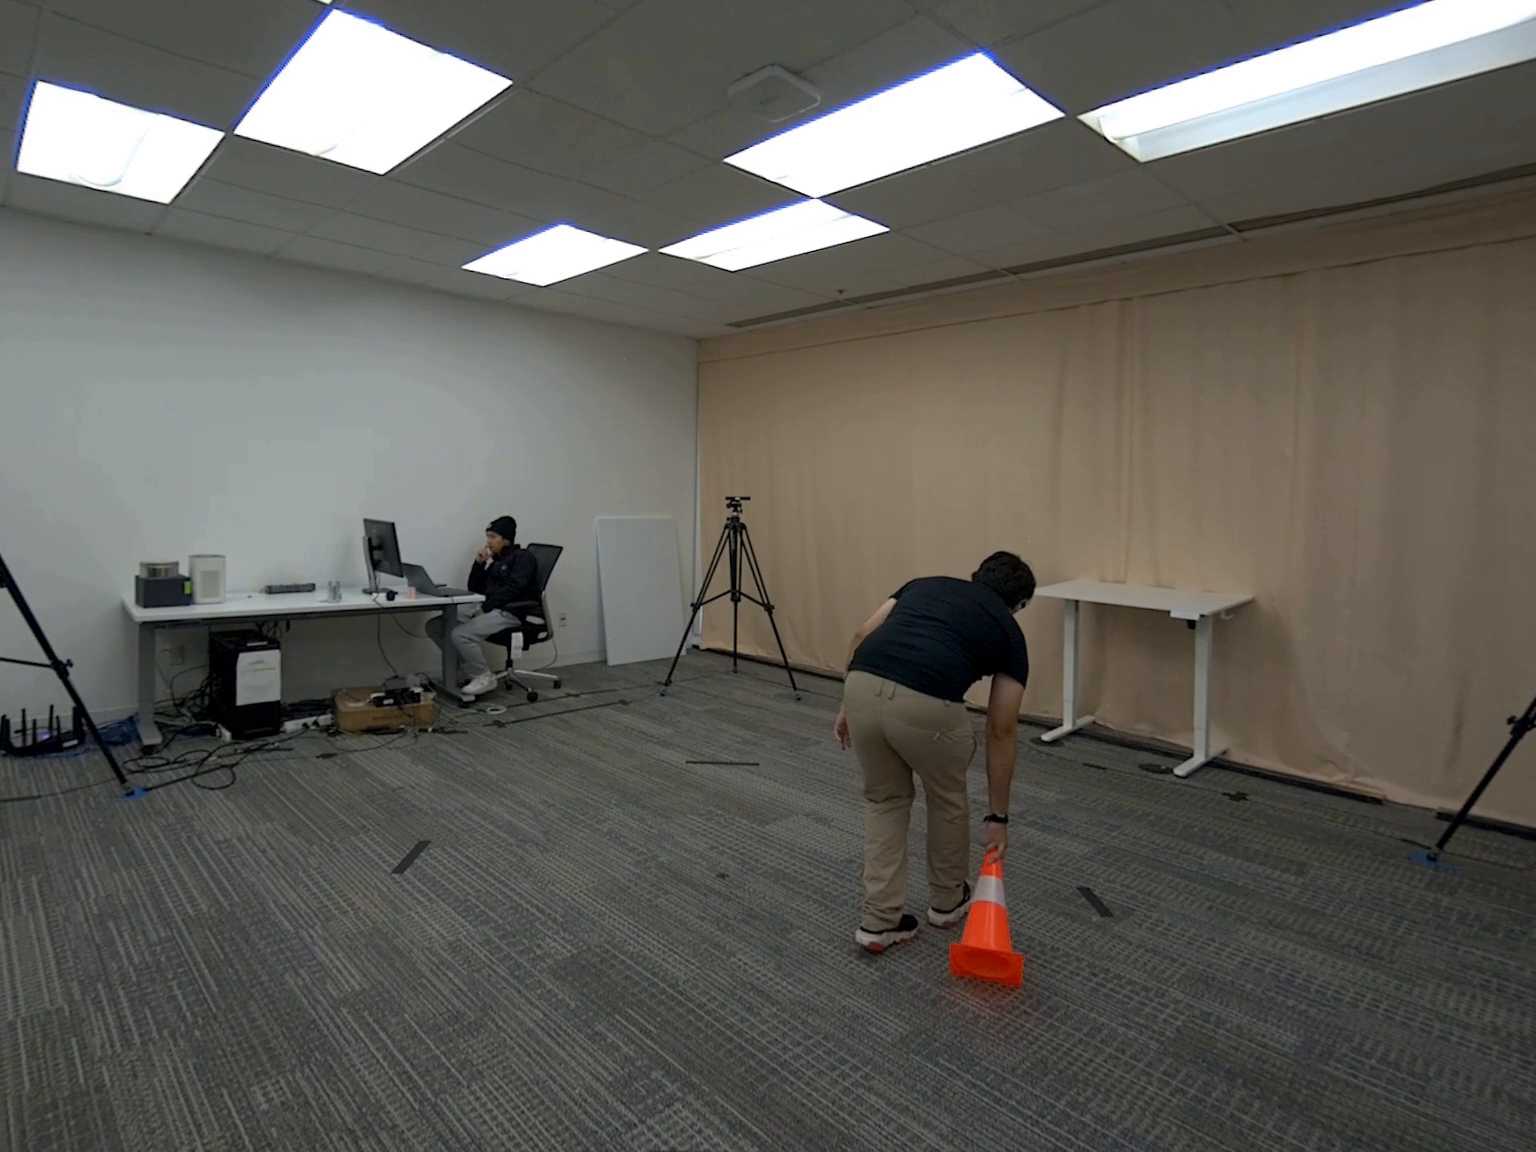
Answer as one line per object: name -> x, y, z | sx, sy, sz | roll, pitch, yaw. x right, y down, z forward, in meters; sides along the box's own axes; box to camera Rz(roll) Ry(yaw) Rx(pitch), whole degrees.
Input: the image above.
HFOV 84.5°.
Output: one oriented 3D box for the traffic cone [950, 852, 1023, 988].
traffic cone -> 0.659, 0.983, 2.535 | 0.206, 0.200, 0.388 | 10, 46, 12
